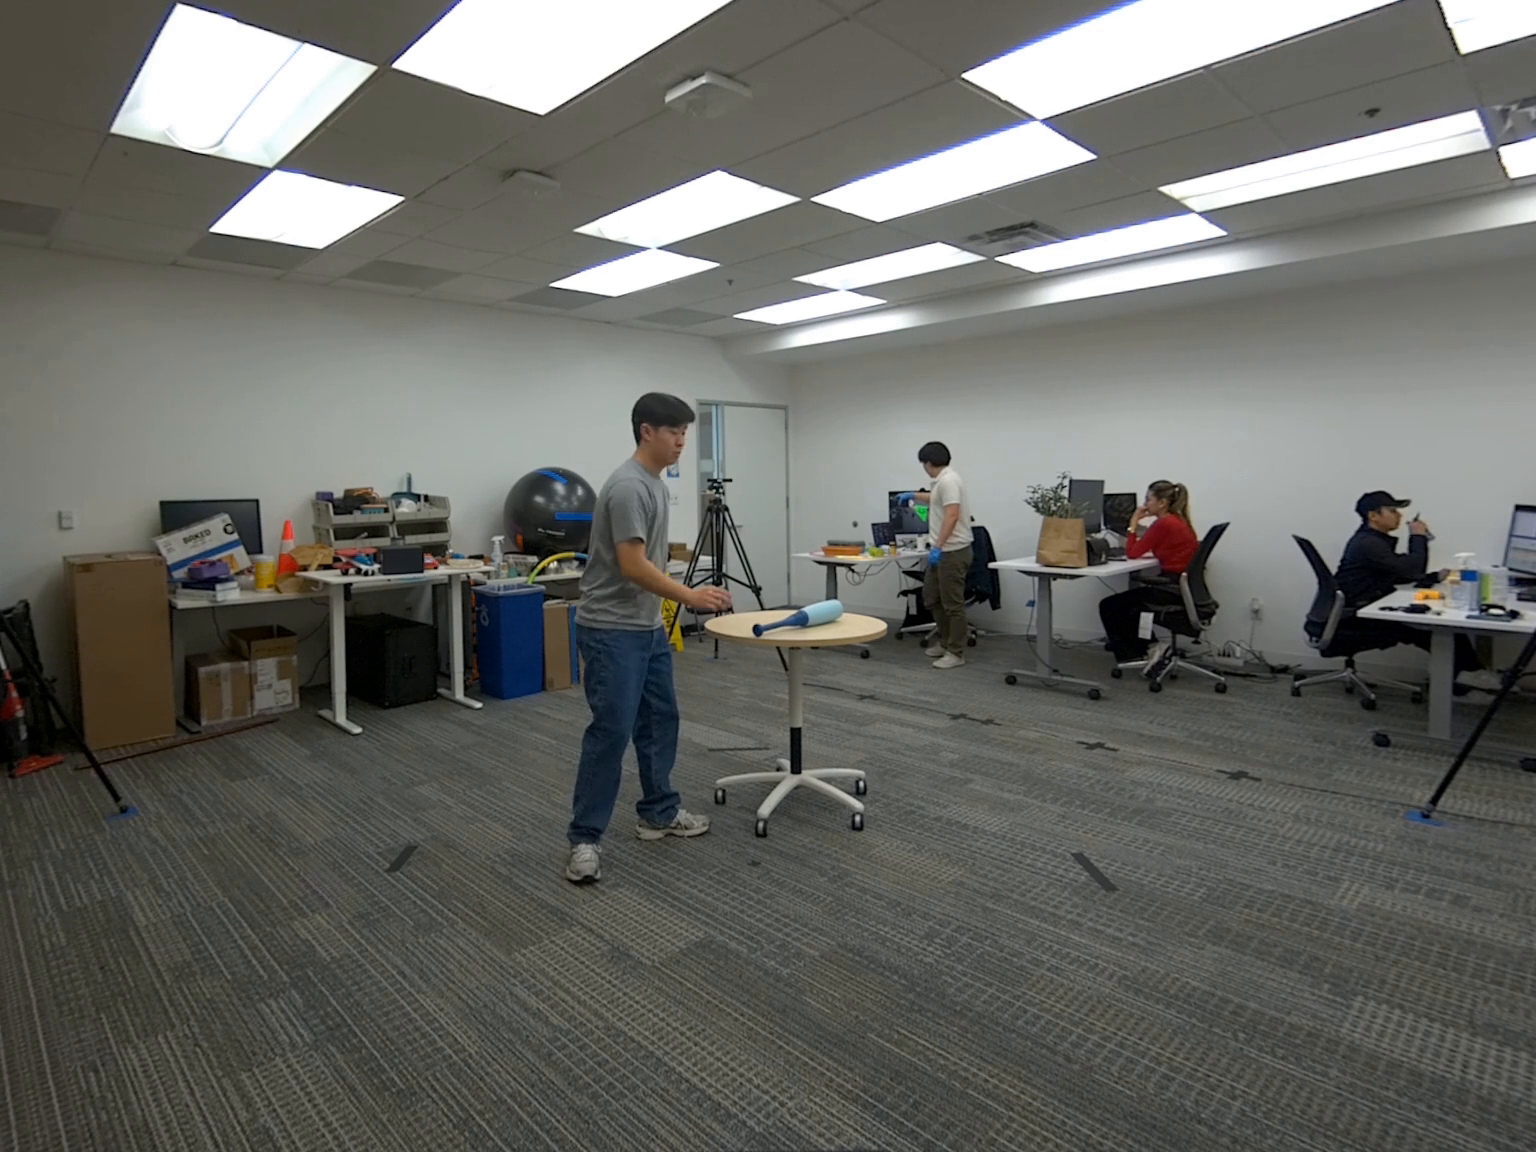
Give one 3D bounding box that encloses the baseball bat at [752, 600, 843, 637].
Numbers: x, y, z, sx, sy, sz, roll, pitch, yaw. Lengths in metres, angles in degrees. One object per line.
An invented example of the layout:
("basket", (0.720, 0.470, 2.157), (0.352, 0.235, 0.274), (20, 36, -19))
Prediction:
("baseball bat", (0.132, 0.179, 3.484), (0.092, 0.088, 0.530), (3, 9, 39))
